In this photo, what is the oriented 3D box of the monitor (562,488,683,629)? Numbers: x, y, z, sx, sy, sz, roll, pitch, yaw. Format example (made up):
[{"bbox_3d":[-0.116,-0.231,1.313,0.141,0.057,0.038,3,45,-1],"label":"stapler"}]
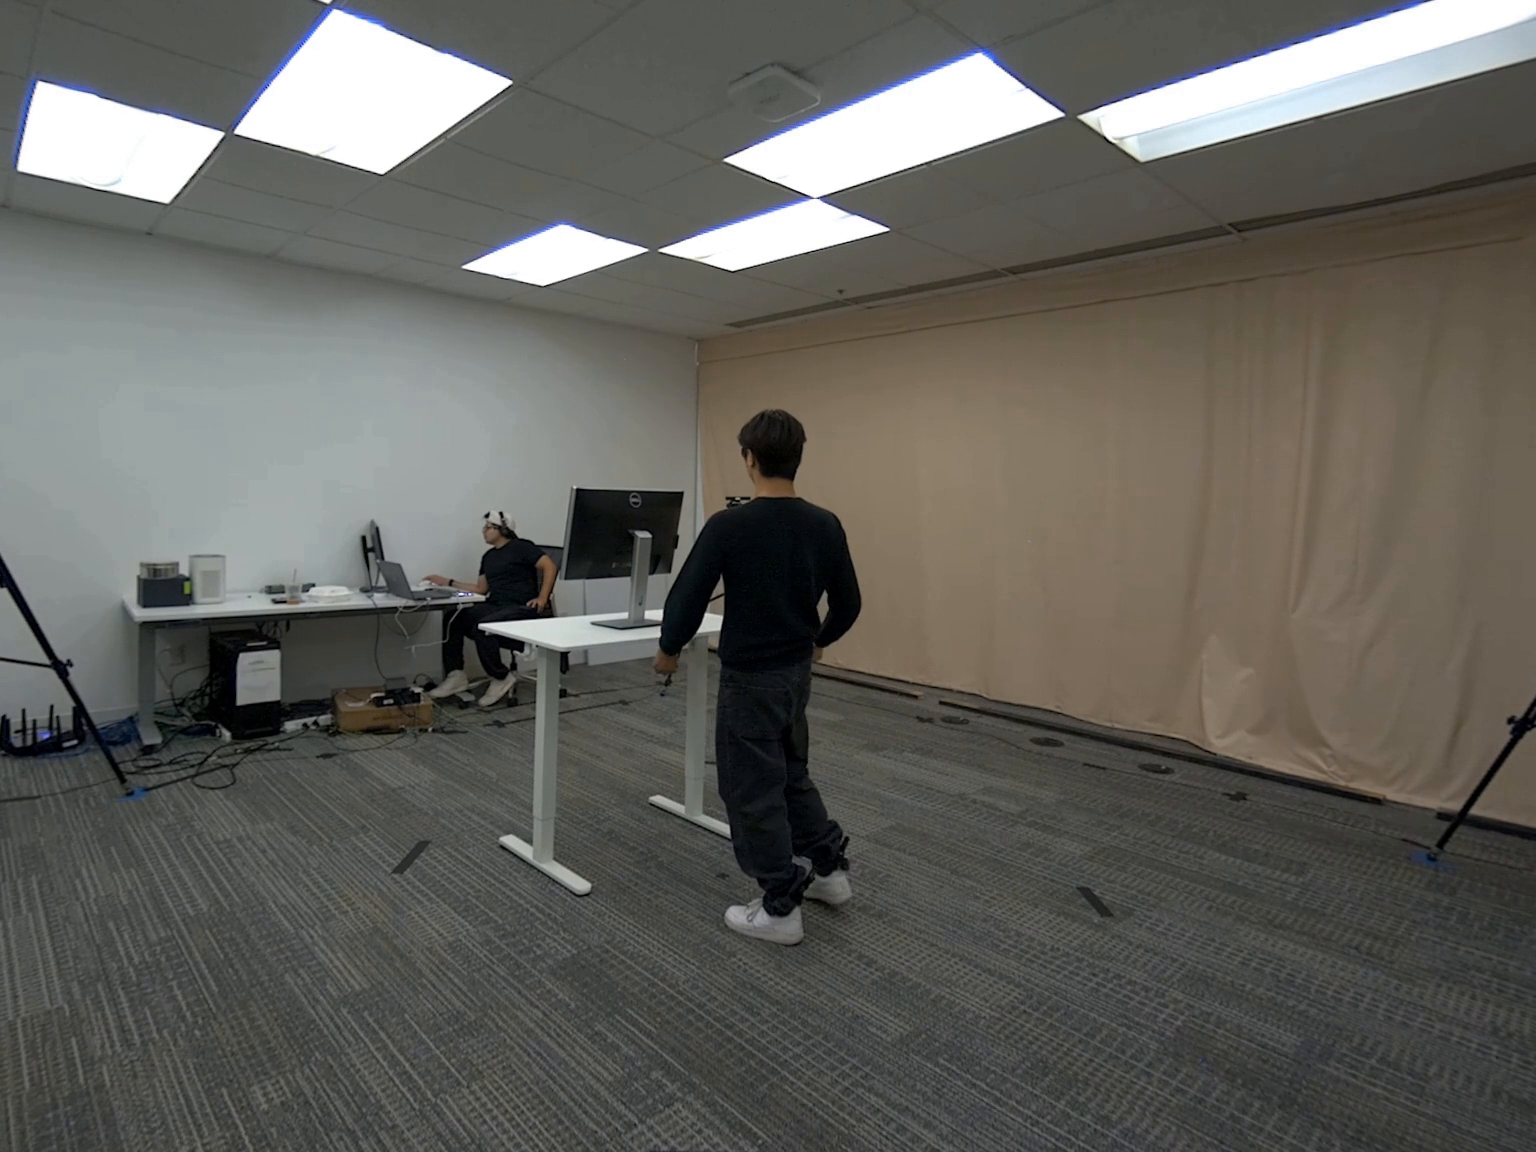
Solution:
[{"bbox_3d":[-0.552,-0.071,3.328,0.191,0.522,0.527,2,3,39],"label":"monitor"}]
